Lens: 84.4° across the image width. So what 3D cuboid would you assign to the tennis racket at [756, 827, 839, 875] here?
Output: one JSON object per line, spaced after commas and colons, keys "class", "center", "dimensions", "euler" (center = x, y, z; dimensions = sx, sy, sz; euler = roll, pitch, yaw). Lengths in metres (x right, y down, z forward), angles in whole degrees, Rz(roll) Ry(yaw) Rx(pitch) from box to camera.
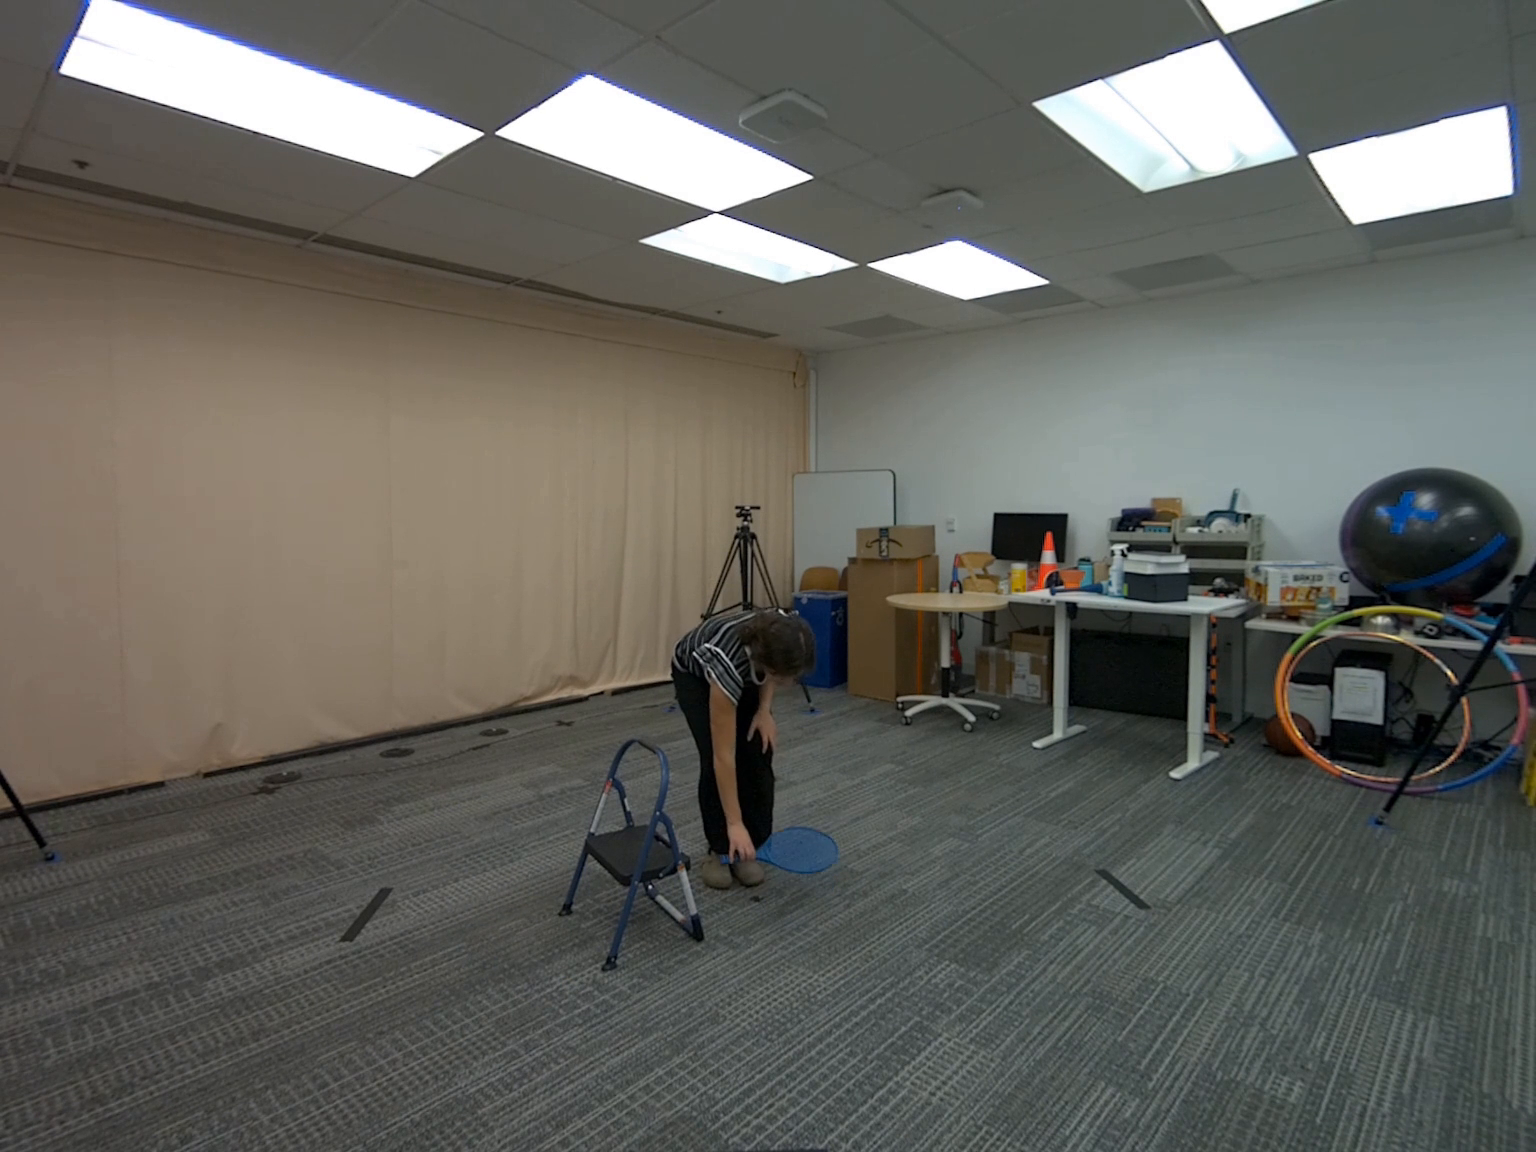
{"class": "tennis racket", "center": [0.040, 0.972, 2.940], "dimensions": [0.426, 0.031, 0.220], "euler": [-3, 28, -15]}
